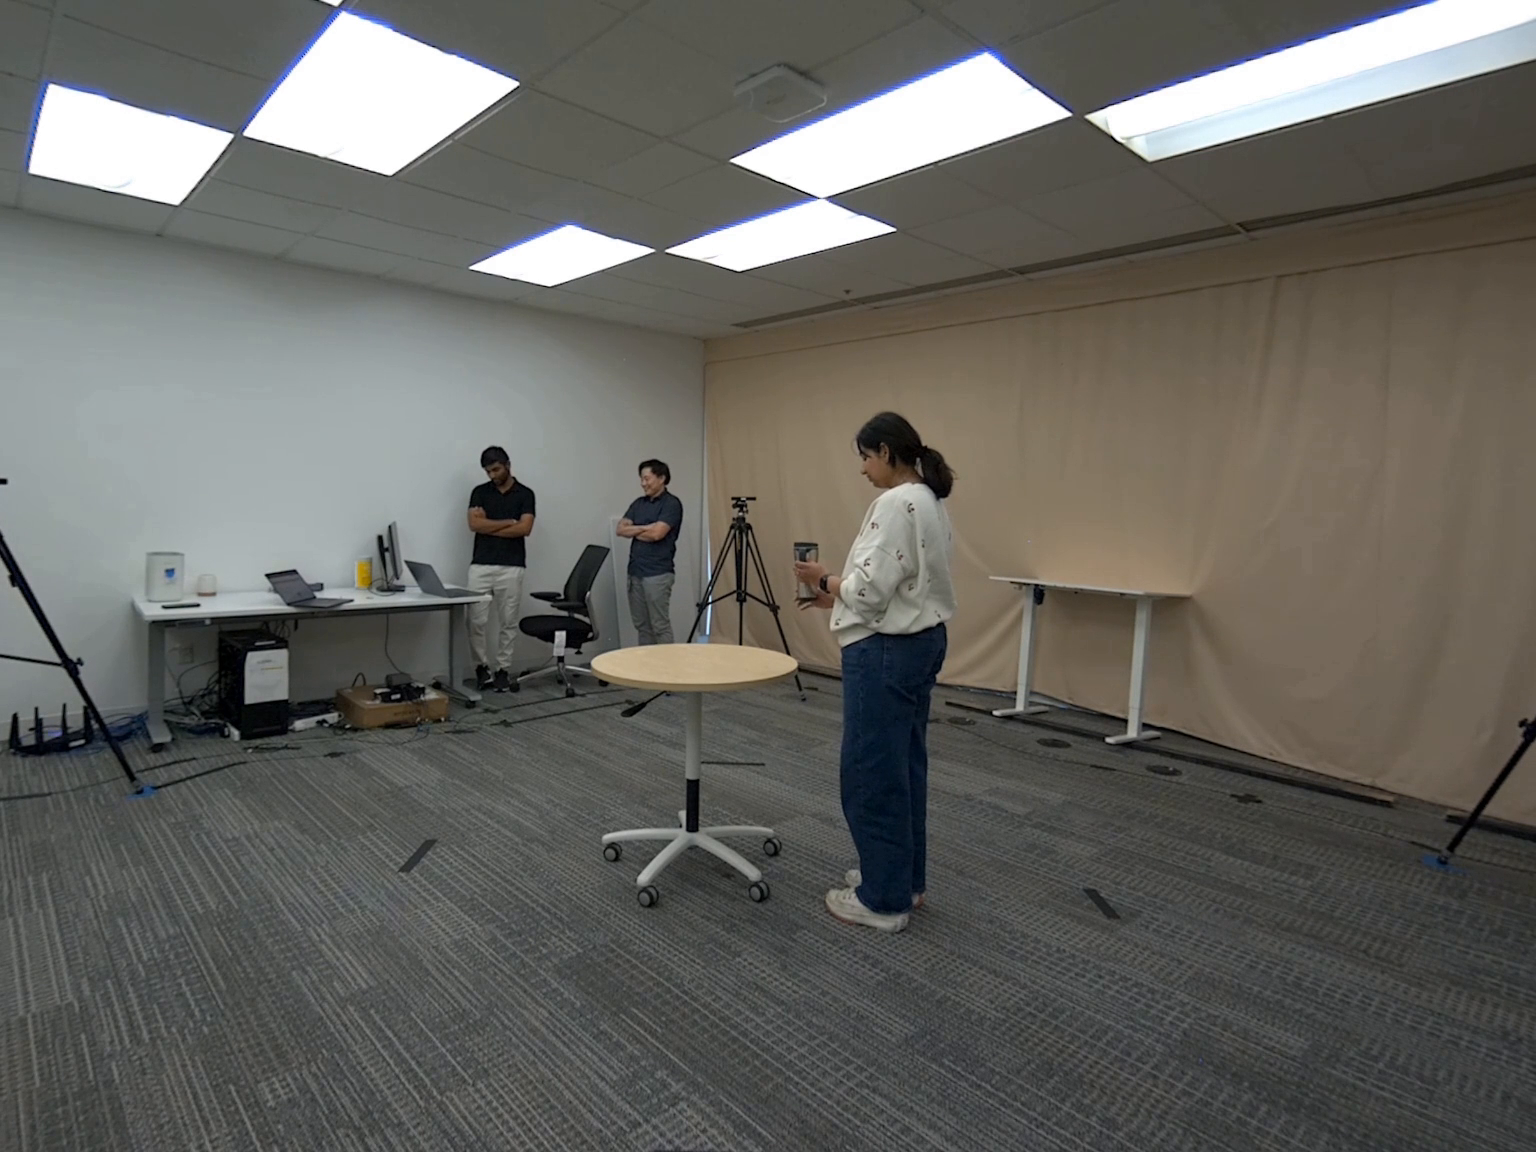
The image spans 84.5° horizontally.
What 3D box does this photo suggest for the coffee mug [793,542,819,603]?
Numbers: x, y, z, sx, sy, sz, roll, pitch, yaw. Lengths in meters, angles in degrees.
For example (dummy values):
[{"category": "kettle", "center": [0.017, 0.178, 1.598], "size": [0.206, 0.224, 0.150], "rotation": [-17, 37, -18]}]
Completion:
[{"category": "coffee mug", "center": [0.125, -0.013, 2.931], "size": [0.119, 0.203, 0.090], "rotation": [4, -1, -45]}]
